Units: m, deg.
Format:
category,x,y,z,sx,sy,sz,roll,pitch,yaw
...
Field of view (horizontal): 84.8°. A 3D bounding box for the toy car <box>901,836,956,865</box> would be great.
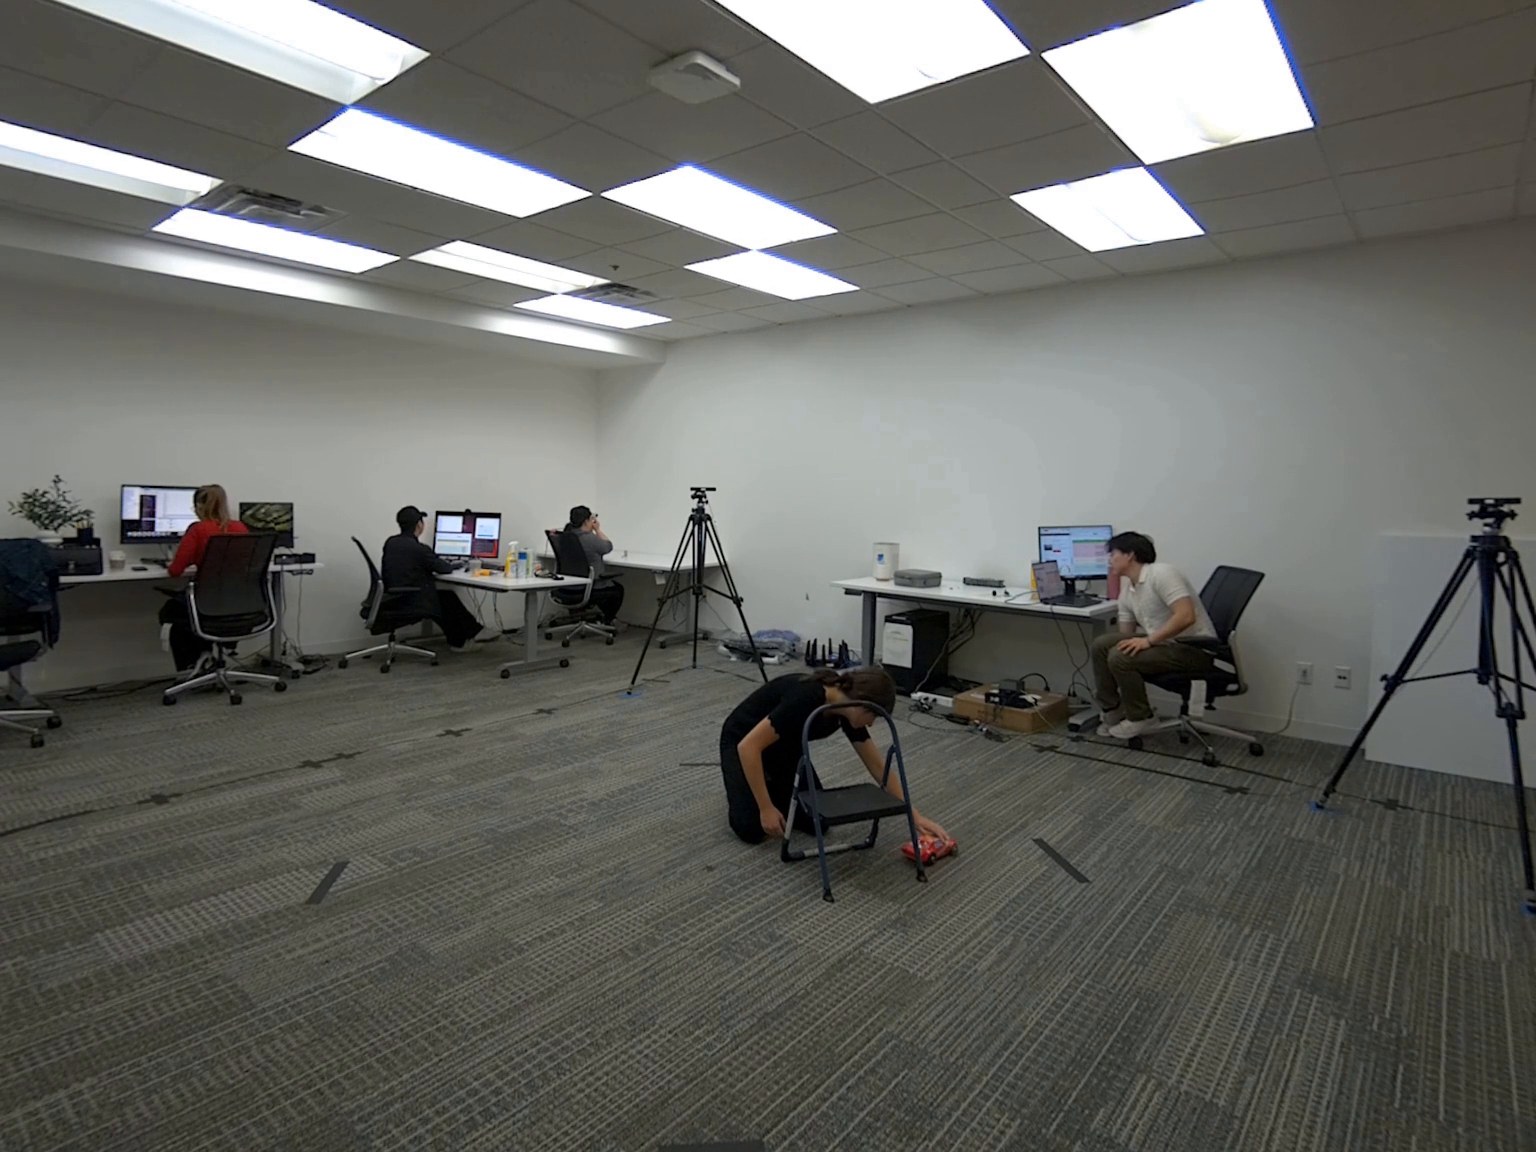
category,x,y,z,sx,sy,sz,roll,pitch,yaw
toy car,0.607,1.042,3.261,0.135,0.083,0.245,12,0,45
